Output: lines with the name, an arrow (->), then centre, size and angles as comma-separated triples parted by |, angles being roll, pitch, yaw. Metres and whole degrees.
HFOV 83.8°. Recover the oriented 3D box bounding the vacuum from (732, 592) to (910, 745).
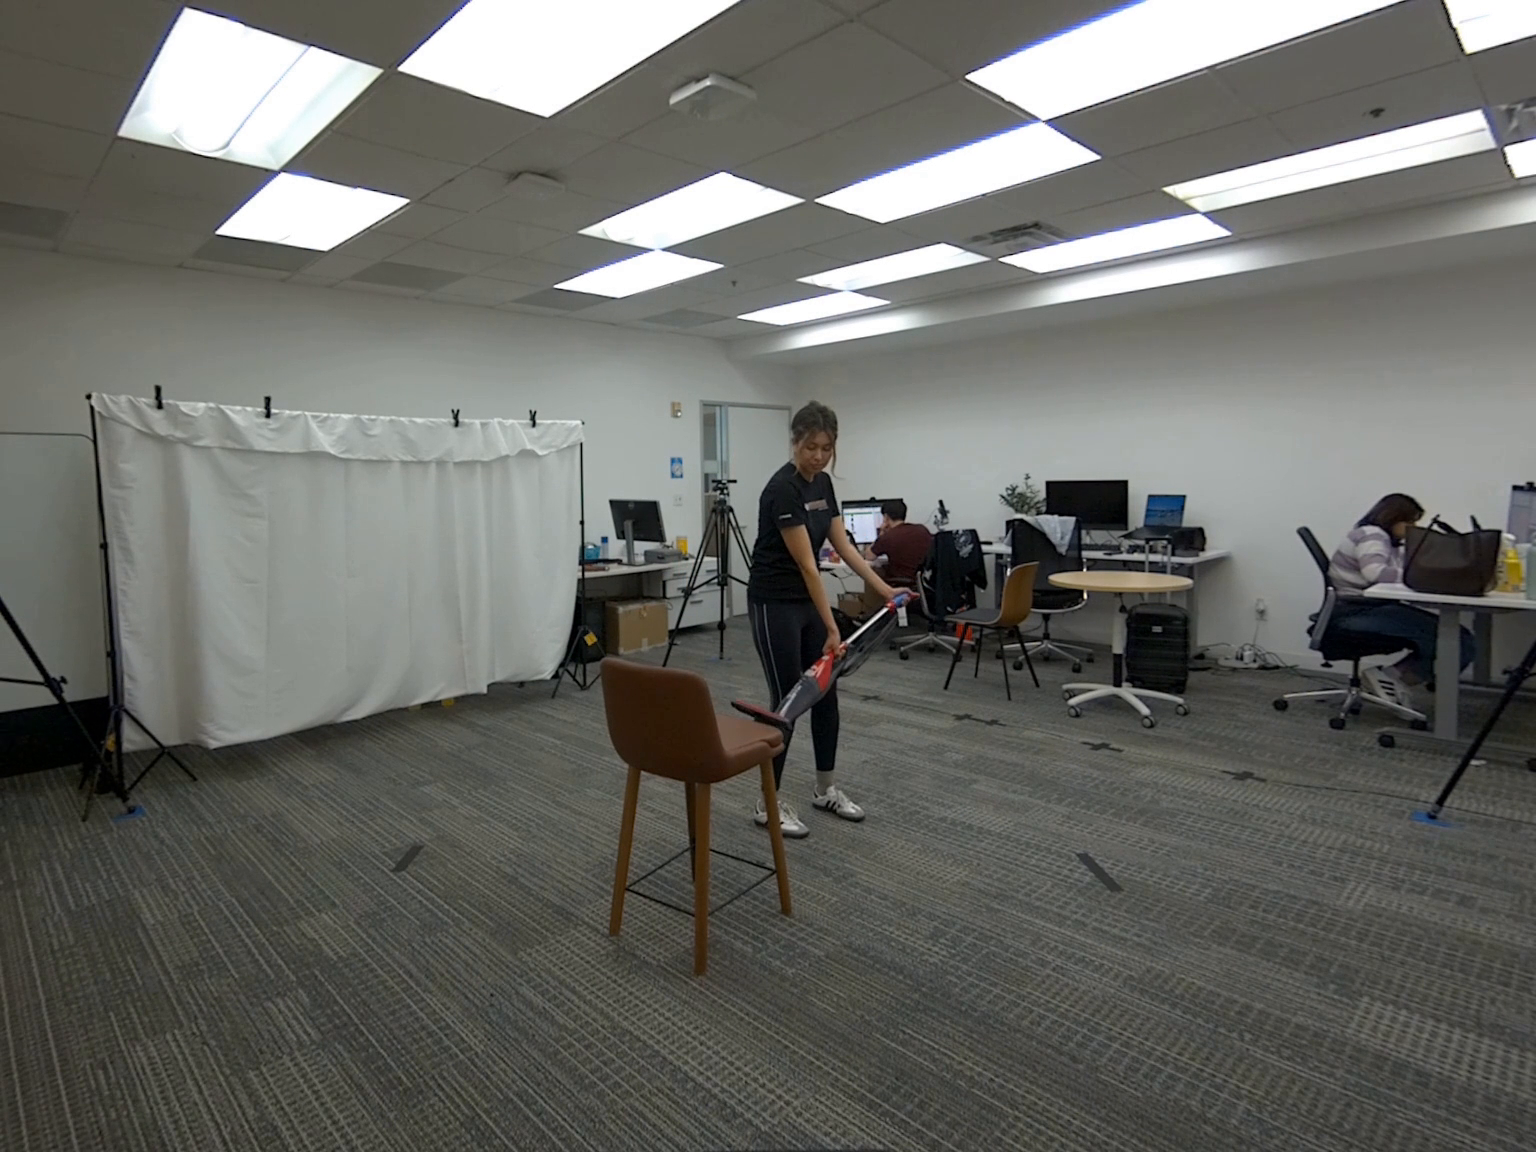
vacuum -> 0.322, 0.312, 3.297 | 0.261, 0.141, 1.038 | 13, 33, 42
